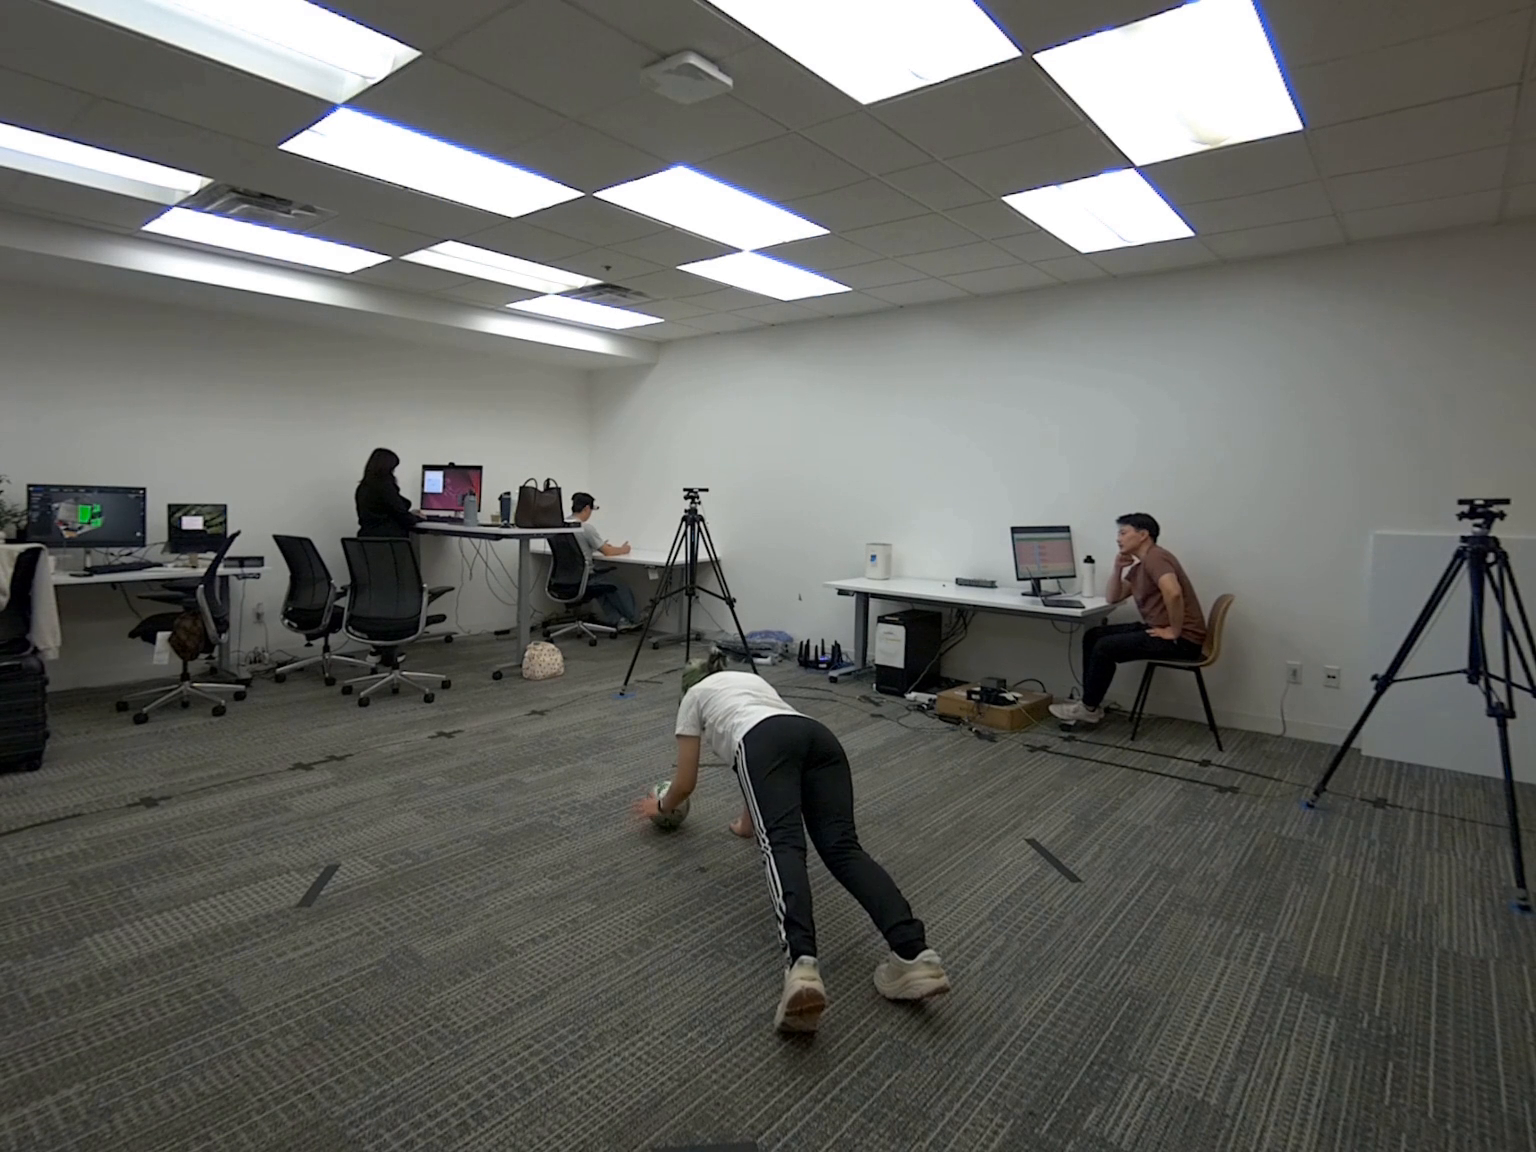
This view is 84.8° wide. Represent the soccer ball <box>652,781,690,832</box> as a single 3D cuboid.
[{"bbox_3d":[-0.424,0.937,3.496,0.187,0.187,0.188,1,4,-2],"label":"soccer ball"}]
